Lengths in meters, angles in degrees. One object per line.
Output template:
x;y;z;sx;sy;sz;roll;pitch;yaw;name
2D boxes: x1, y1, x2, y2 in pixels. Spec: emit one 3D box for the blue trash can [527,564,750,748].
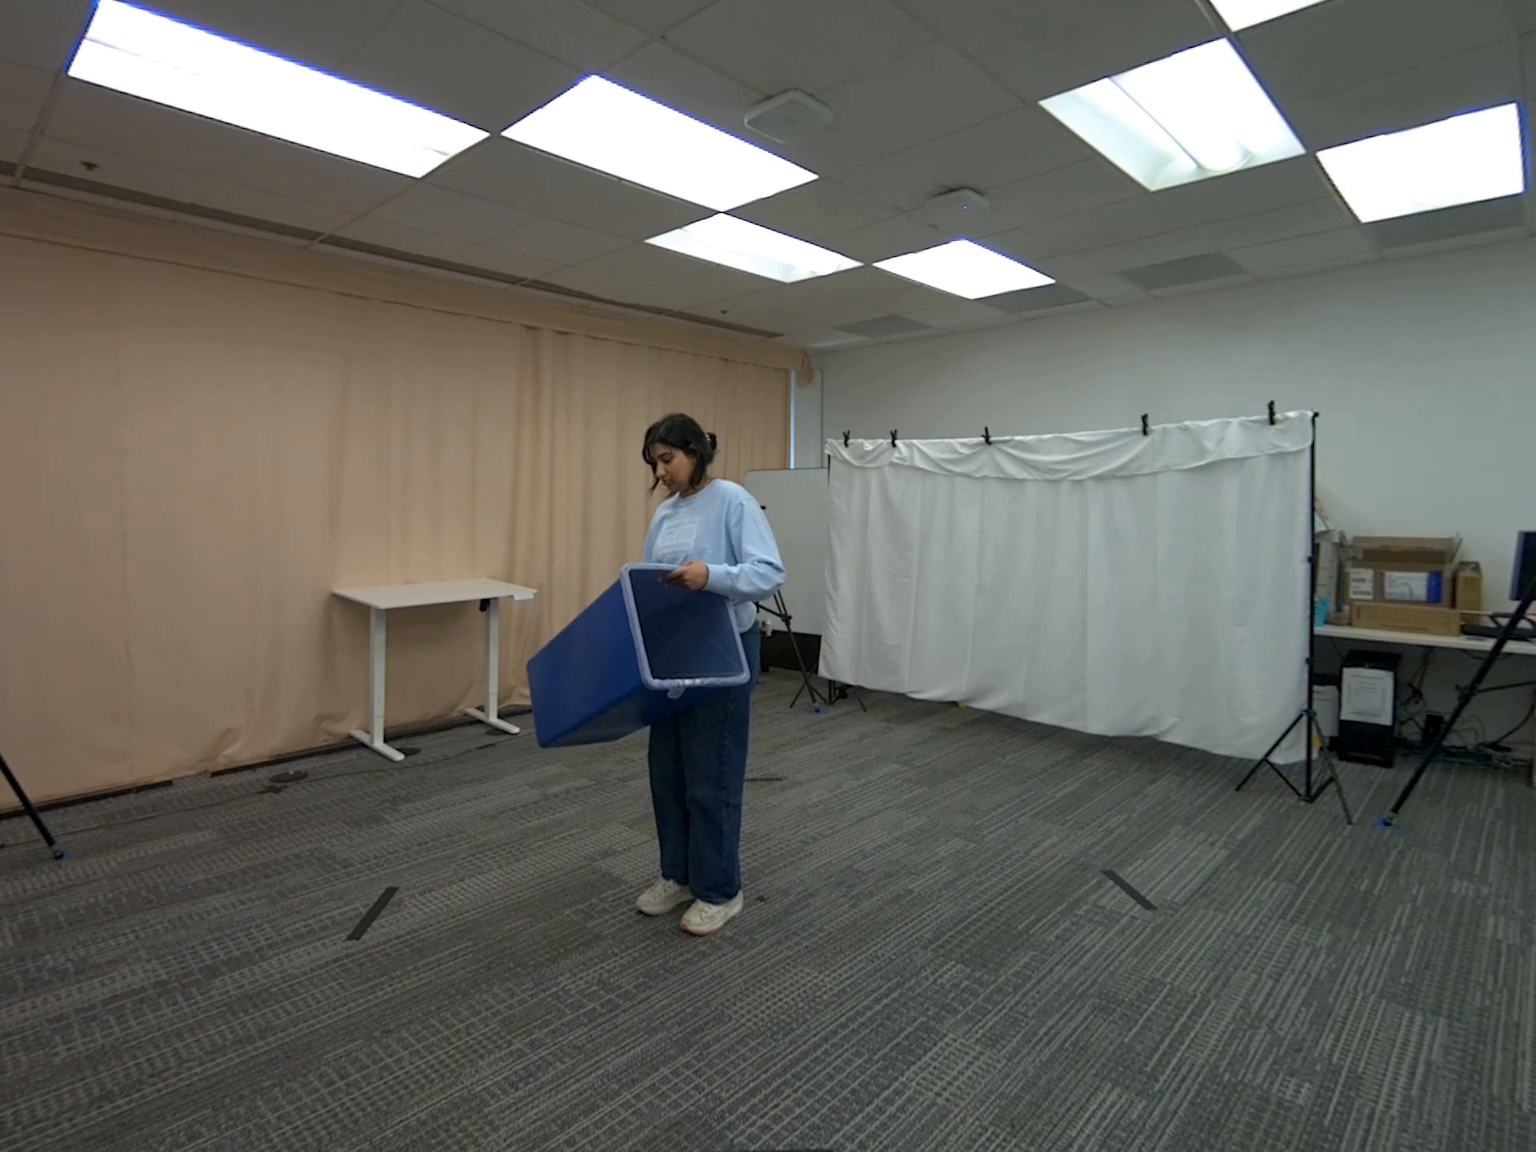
-0.448;0.281;2.643;0.366;0.381;0.724;4;-27;-42;blue trash can
